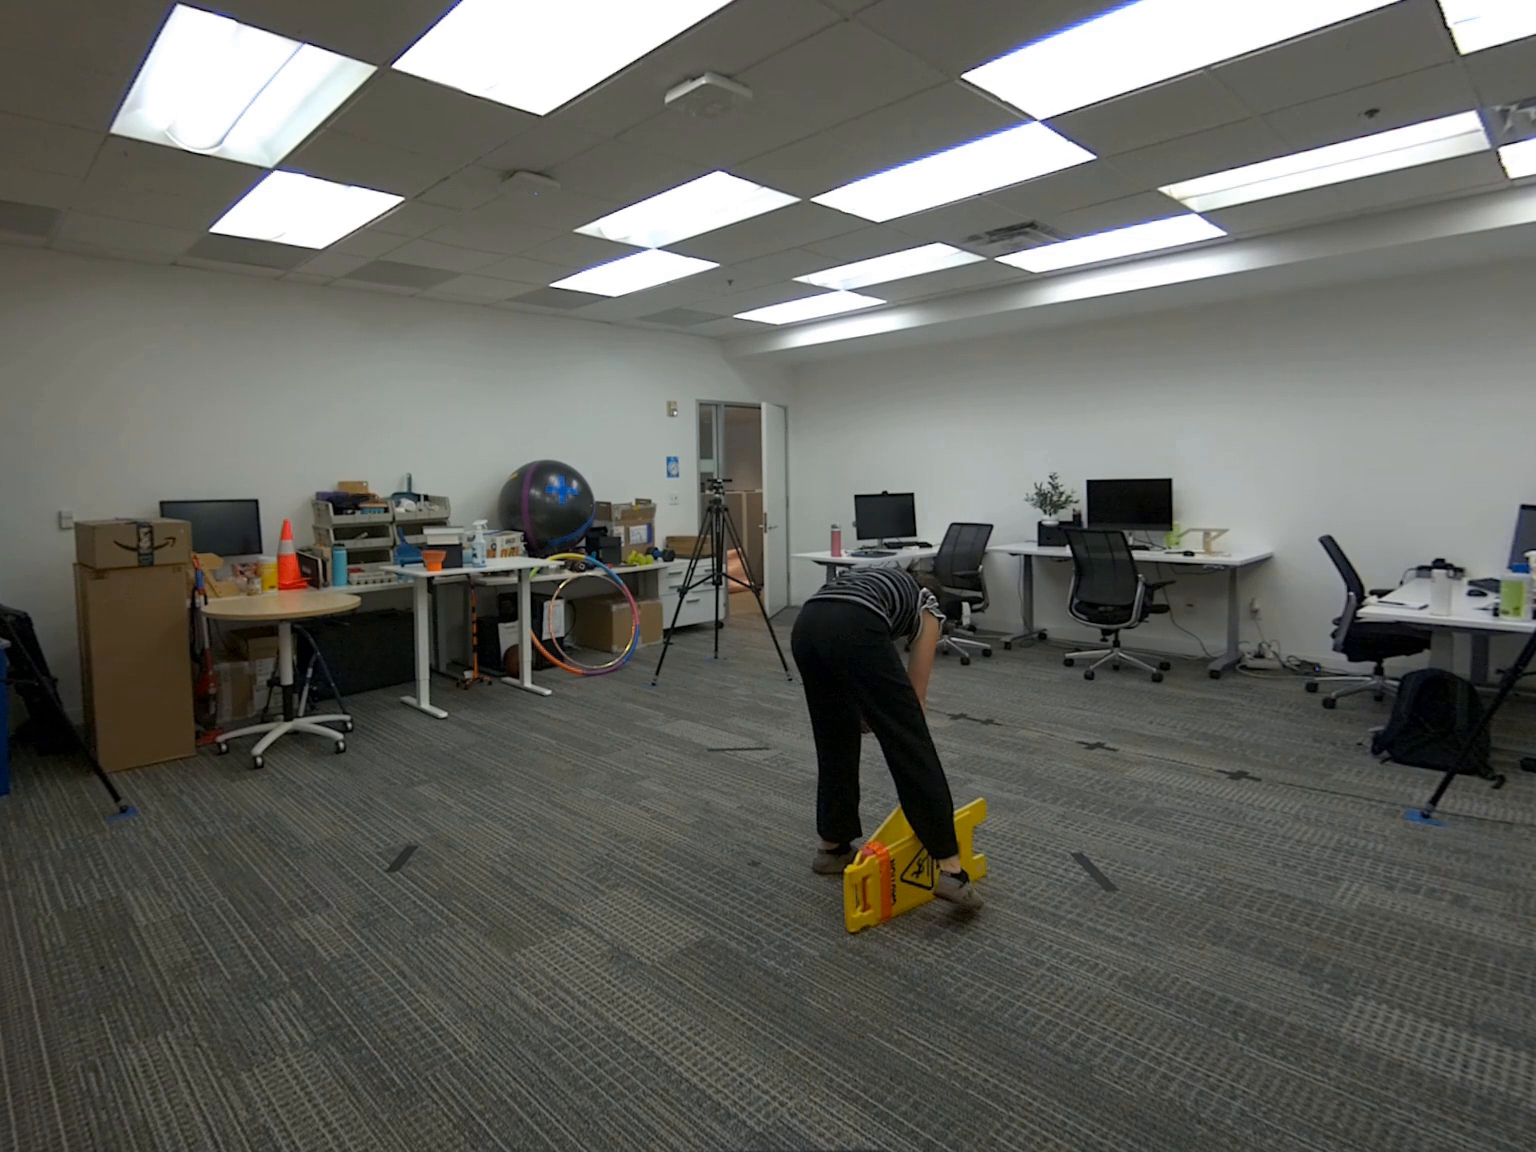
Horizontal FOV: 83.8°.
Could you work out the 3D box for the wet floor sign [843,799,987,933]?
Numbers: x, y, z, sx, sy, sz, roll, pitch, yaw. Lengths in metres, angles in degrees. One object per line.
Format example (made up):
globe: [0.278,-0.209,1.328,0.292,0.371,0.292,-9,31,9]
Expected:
wet floor sign: [0.457,0.944,2.822,0.298,0.280,0.631,4,10,41]
